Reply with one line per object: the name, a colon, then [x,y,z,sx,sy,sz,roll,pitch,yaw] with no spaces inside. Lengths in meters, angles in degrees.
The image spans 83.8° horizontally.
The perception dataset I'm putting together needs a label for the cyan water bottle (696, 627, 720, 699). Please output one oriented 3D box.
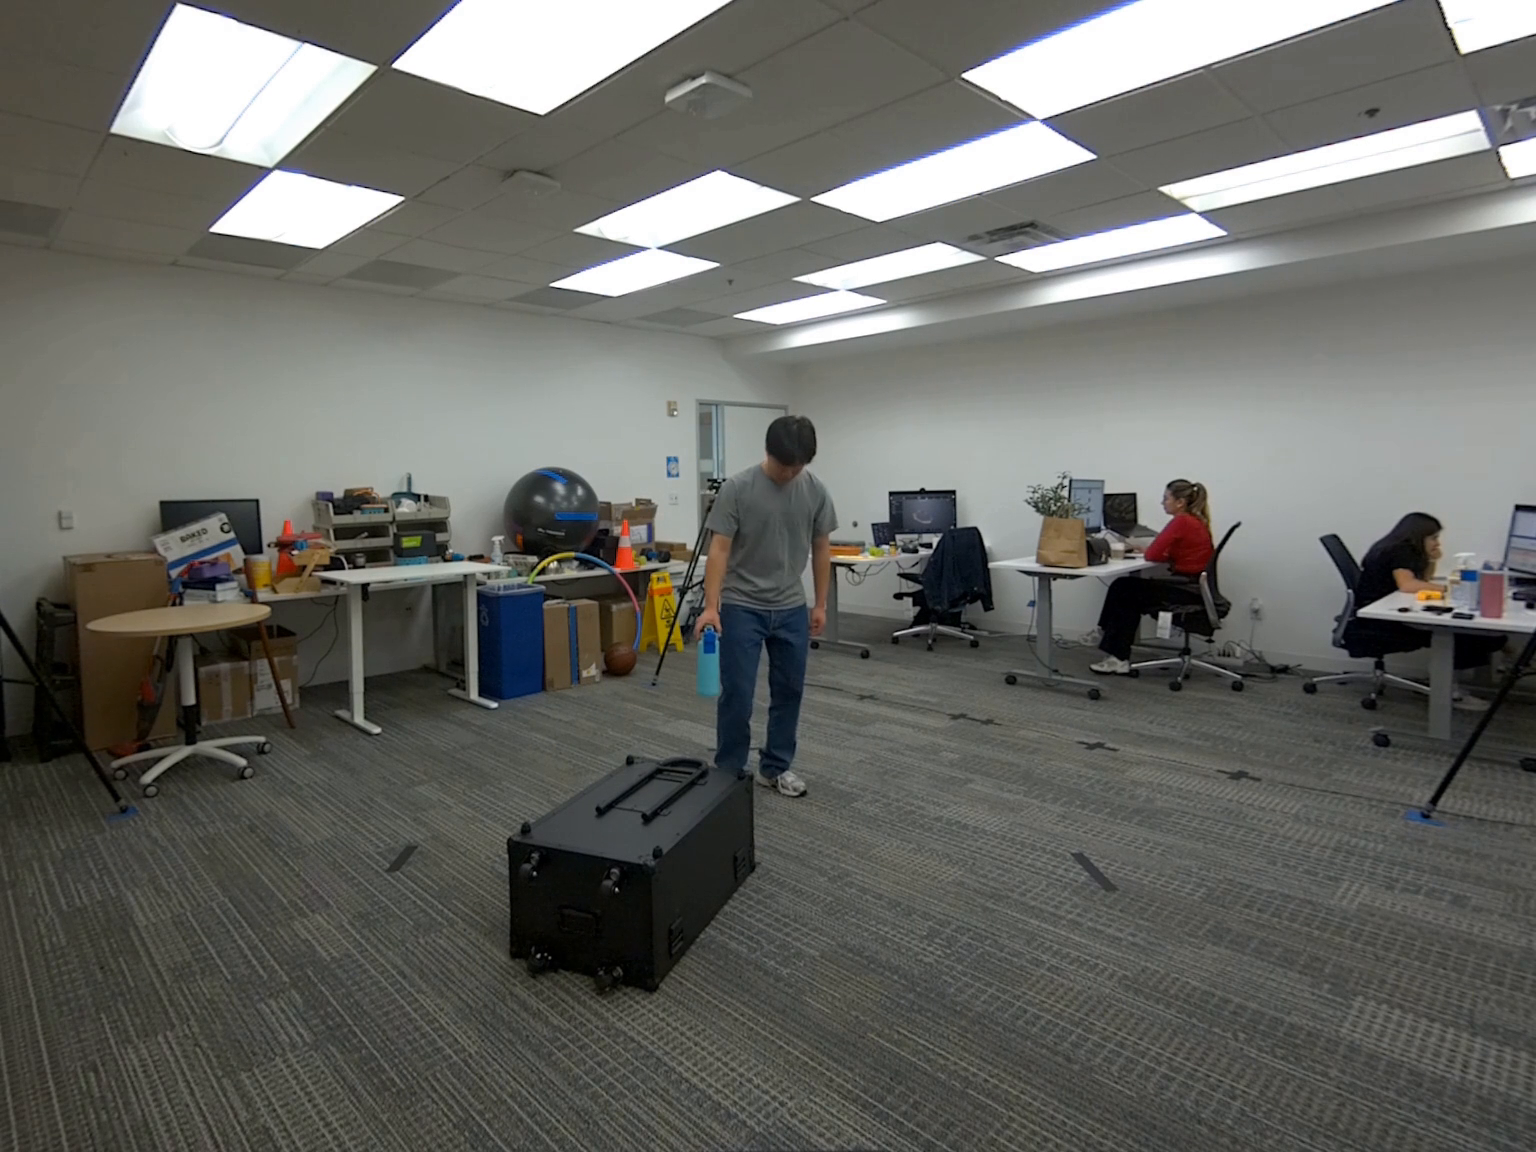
cyan water bottle: [-0.236,0.349,3.451,0.092,0.283,0.092,3,1,-2]
